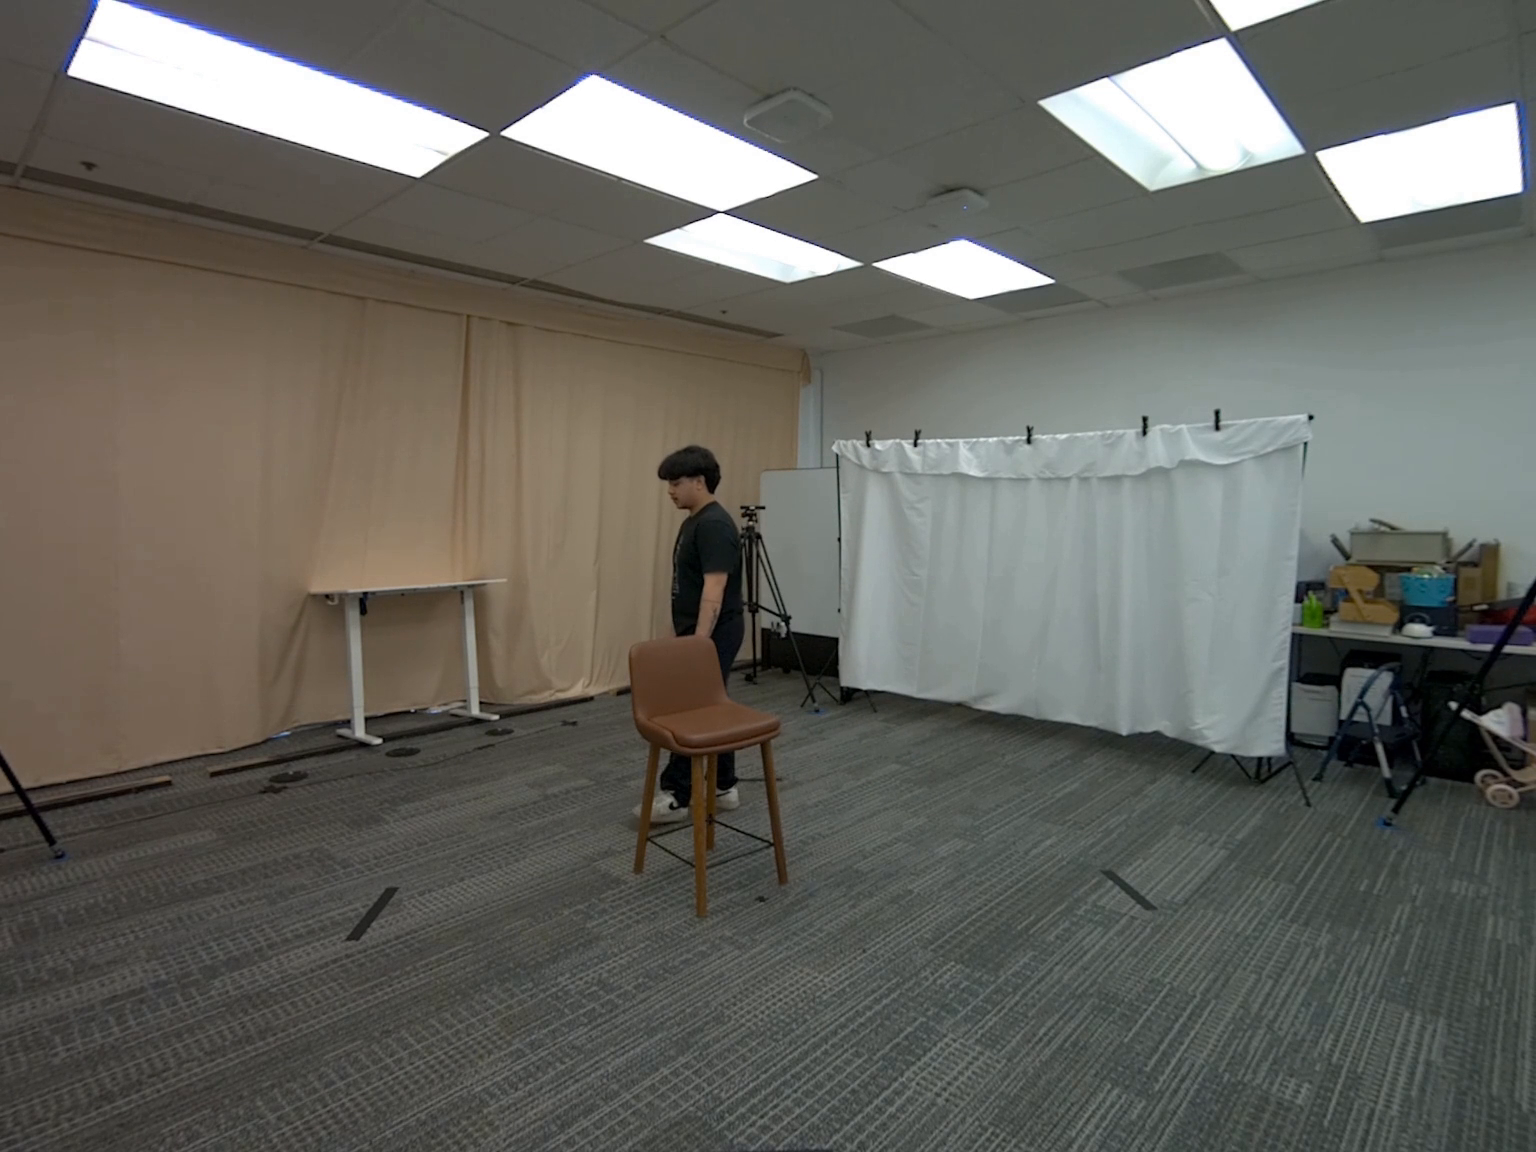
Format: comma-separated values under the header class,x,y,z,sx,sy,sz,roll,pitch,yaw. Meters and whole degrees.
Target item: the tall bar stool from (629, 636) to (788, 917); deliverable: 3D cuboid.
class,x,y,z,sx,sy,sz,roll,pitch,yaw
tall bar stool,-0.230,0.696,3.134,0.443,0.889,0.482,-3,2,-40
